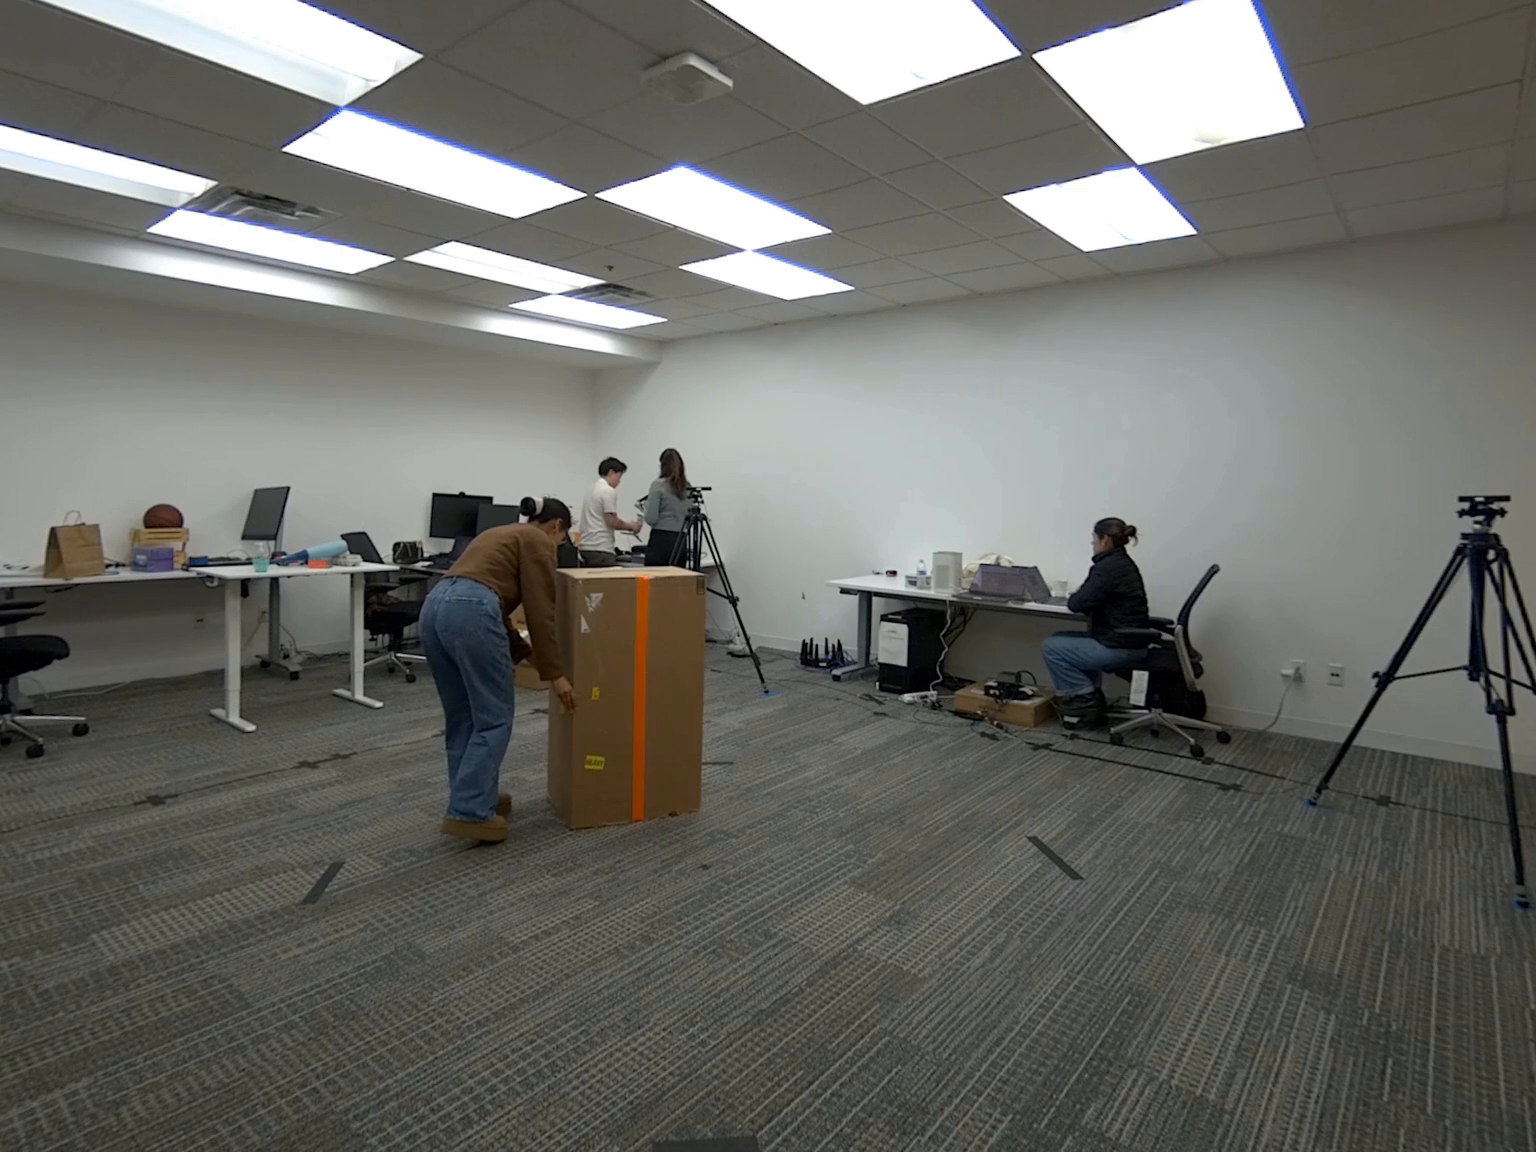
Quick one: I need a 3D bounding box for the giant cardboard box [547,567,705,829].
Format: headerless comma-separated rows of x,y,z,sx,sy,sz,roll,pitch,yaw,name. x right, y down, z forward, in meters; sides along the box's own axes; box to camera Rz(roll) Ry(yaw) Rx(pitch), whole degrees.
-0.640,0.495,3.710,0.563,1.024,0.438,1,3,-27,giant cardboard box
